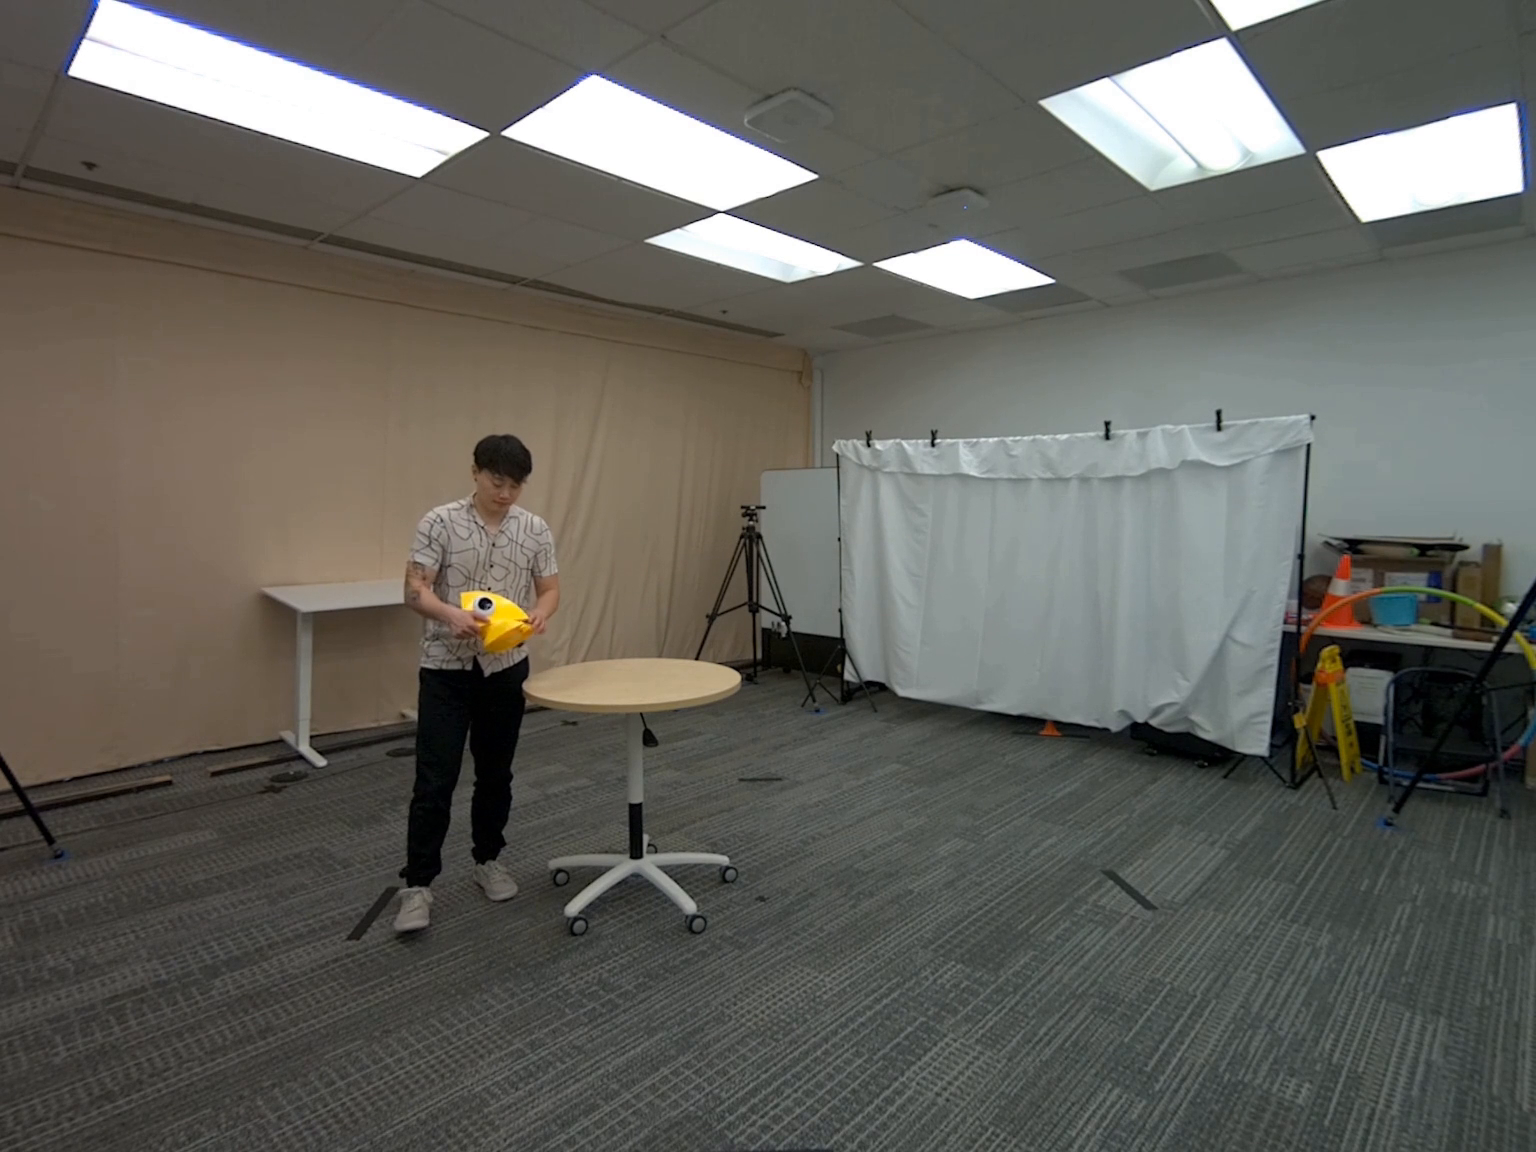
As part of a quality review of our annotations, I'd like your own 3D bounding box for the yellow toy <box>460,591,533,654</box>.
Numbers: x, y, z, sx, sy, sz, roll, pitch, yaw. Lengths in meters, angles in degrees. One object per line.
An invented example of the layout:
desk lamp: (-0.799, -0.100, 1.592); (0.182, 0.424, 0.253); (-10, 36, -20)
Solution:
yellow toy: (-0.915, 0.118, 2.783); (0.193, 0.234, 0.202); (-34, -12, -1)
